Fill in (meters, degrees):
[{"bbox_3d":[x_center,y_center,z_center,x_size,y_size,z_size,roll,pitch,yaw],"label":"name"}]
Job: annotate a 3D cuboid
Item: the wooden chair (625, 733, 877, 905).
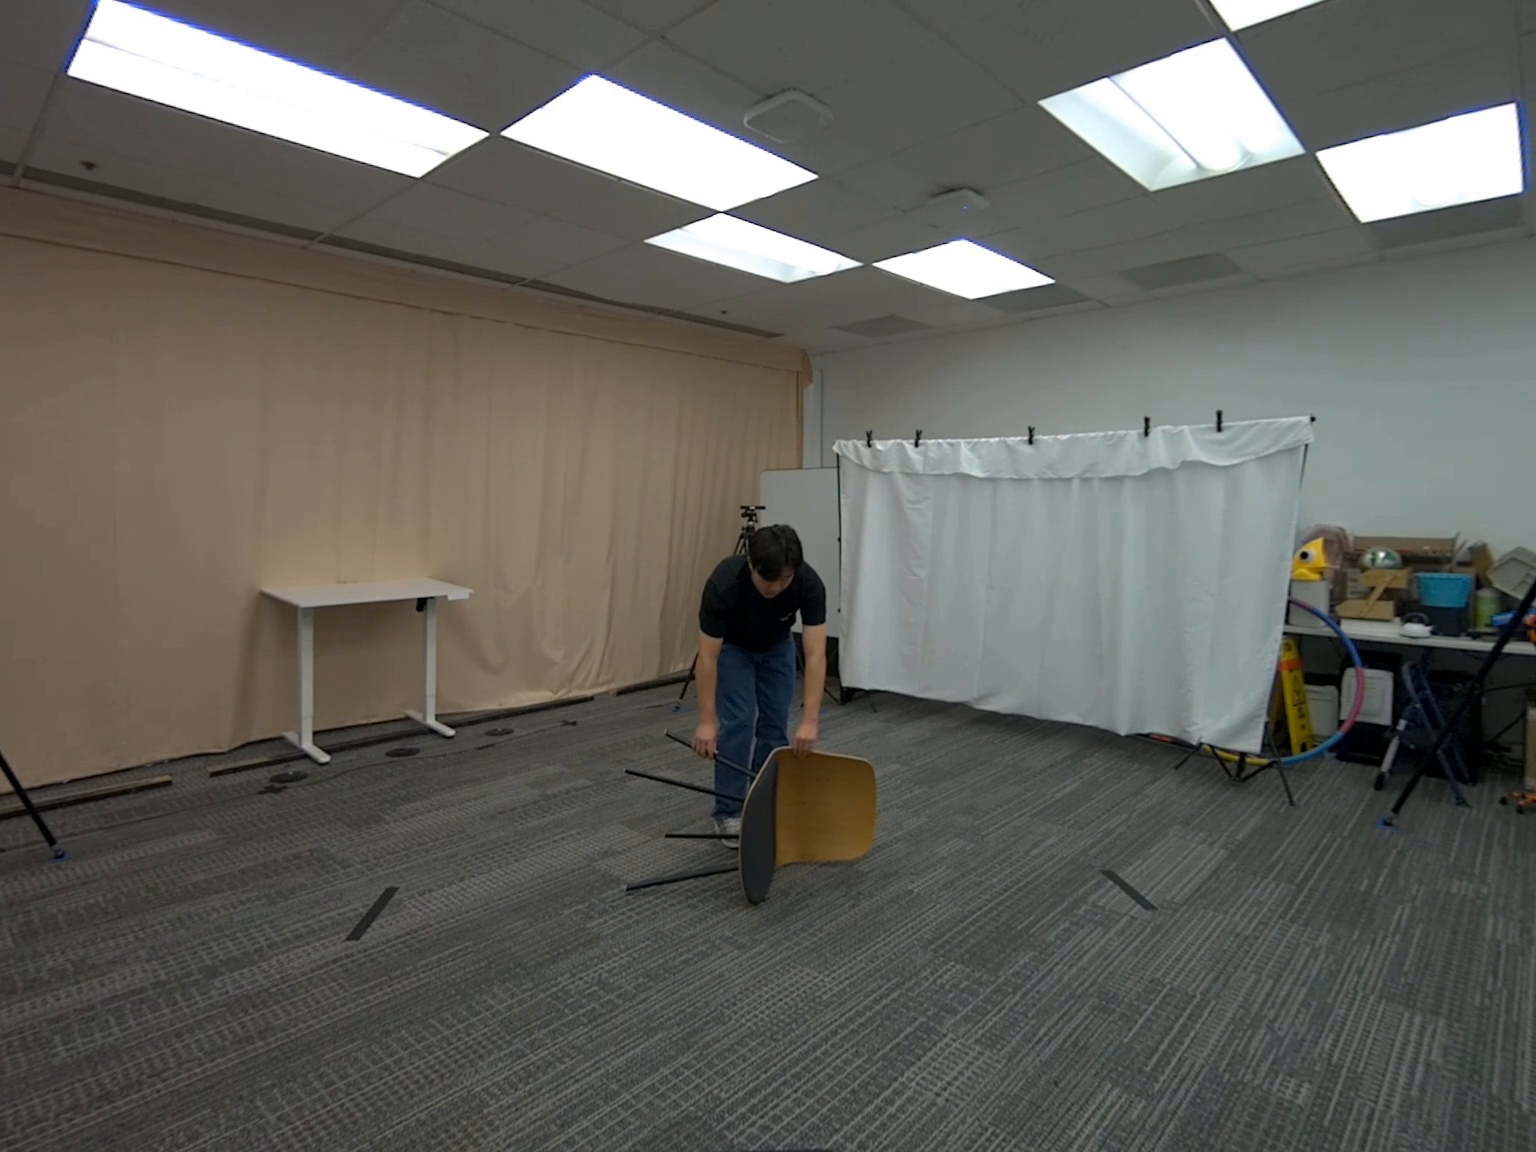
[{"bbox_3d":[-0.038,0.896,3.096,0.888,0.476,0.519,3,7,11],"label":"wooden chair"}]
